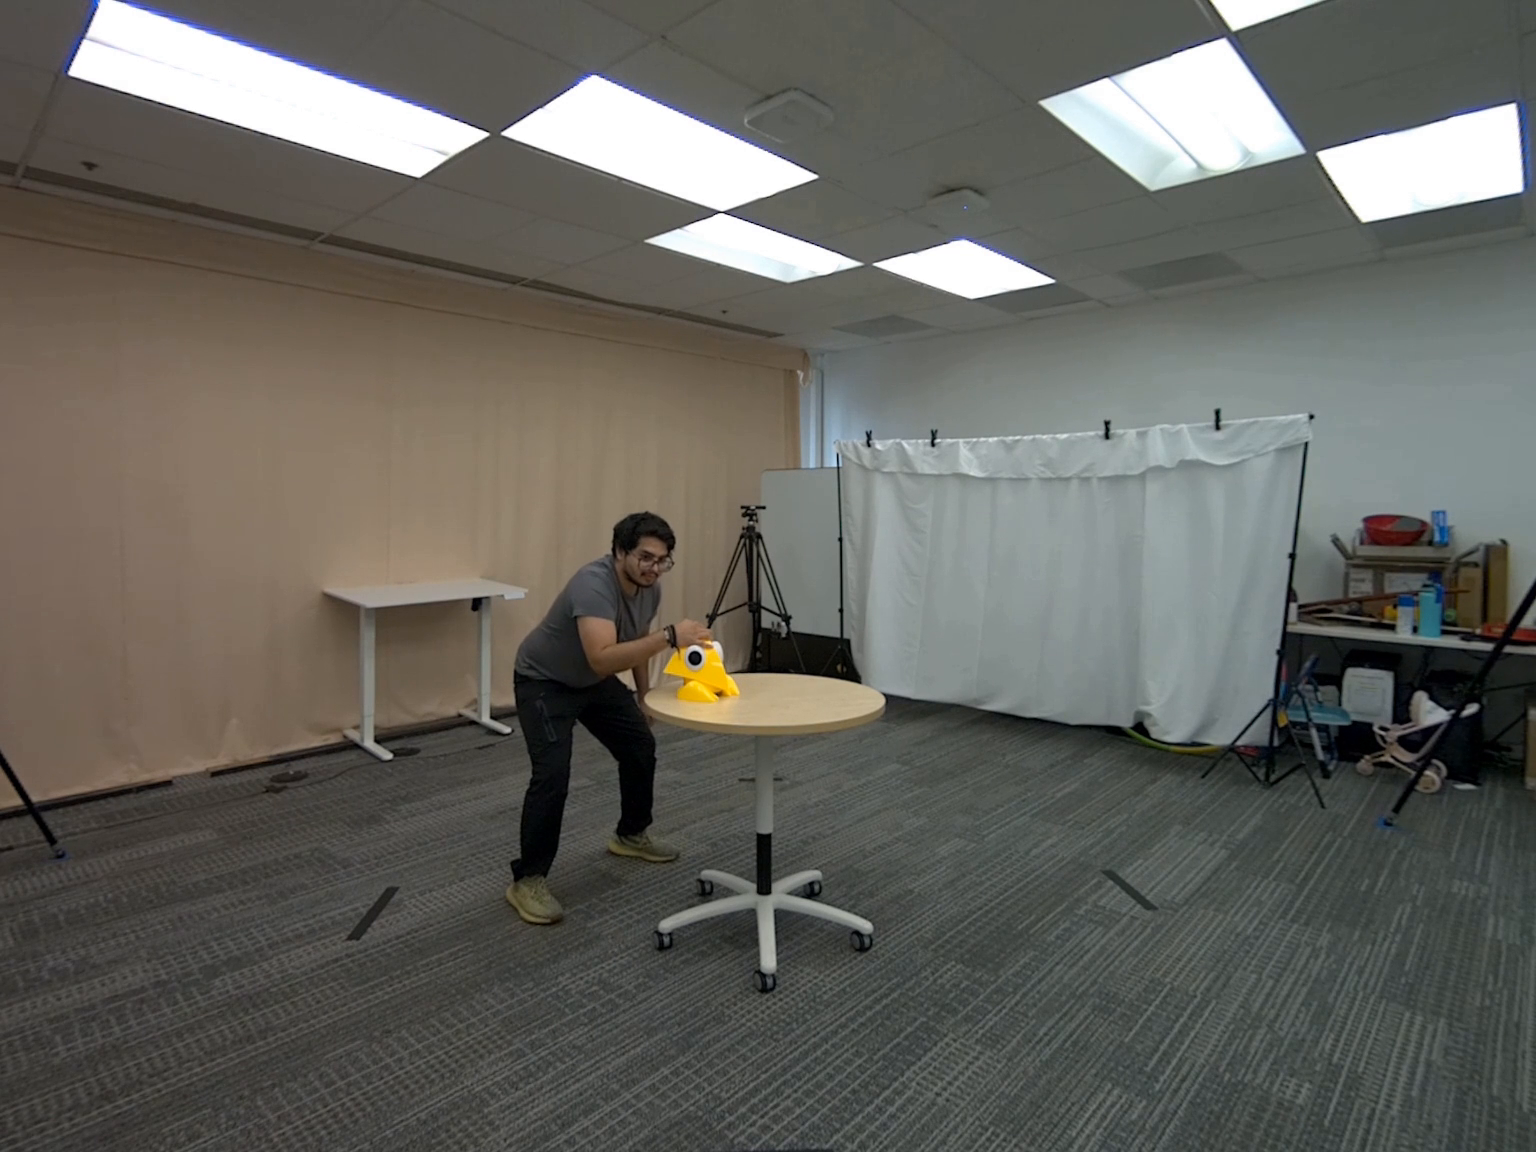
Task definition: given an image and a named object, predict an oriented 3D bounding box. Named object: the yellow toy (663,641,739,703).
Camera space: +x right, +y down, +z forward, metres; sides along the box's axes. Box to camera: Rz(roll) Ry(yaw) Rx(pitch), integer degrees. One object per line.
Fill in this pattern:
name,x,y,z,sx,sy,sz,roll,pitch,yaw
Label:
yellow toy,-0.197,0.272,2.721,0.199,0.230,0.199,3,4,35
